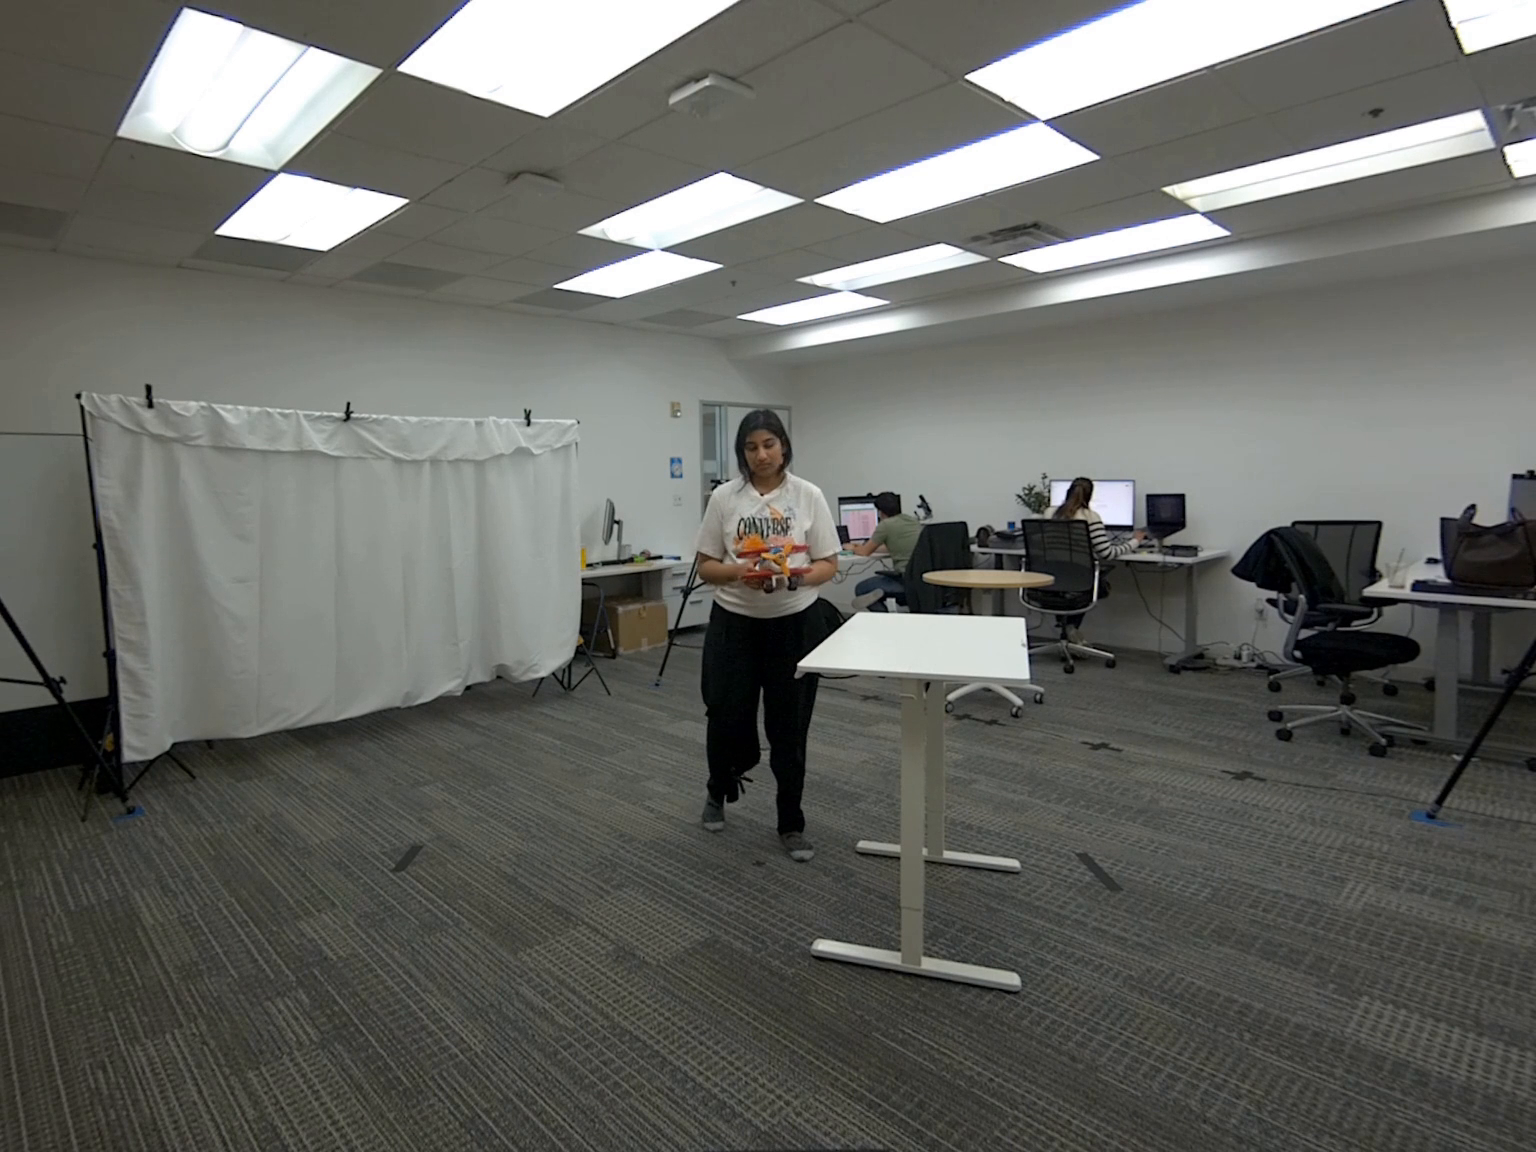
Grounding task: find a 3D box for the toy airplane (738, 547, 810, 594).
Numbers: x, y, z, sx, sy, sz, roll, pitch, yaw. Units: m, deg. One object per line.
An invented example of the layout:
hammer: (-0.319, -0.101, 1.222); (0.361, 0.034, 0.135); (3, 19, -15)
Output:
toy airplane: (-0.006, -0.022, 2.946); (0.245, 0.156, 0.266); (-9, 5, -40)
